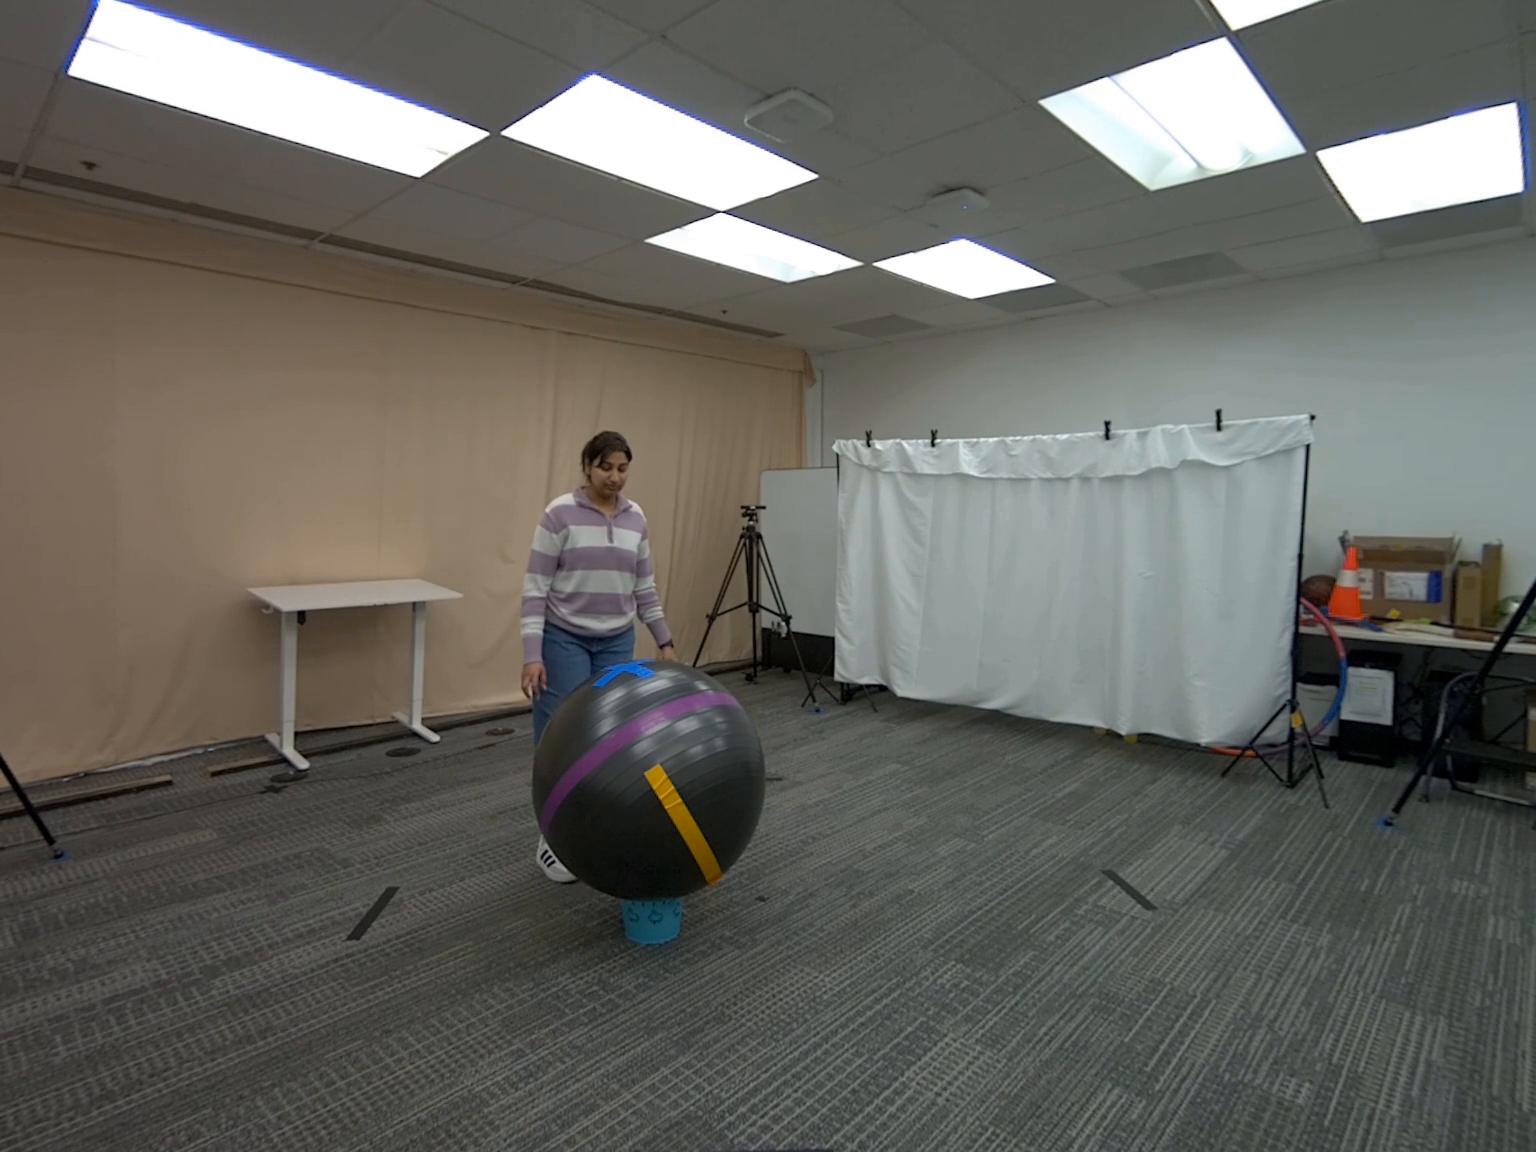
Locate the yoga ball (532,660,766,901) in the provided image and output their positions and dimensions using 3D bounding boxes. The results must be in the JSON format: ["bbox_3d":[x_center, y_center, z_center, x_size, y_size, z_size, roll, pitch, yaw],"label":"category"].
[{"bbox_3d":[-0.392,0.657,2.747,0.757,0.756,0.760,0,4,-2],"label":"yoga ball"}]
